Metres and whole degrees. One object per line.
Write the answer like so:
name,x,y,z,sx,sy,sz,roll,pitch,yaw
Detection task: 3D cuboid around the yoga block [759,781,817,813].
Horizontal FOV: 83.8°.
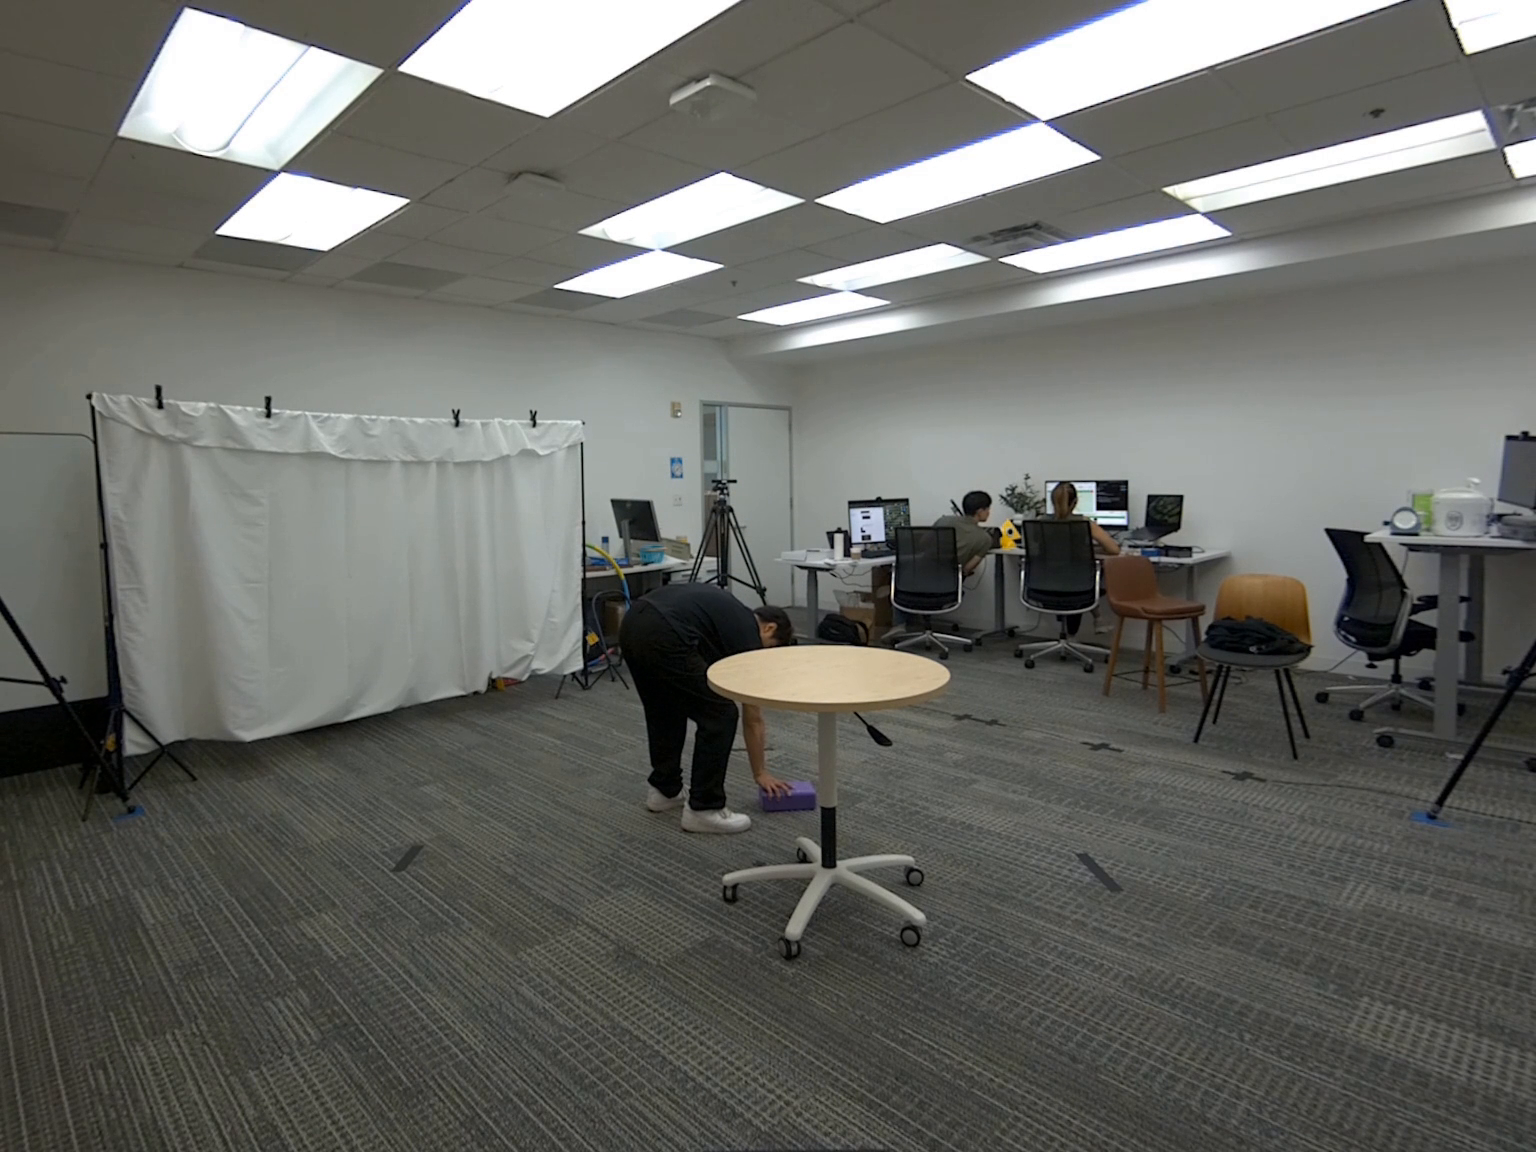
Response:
yoga block,0.079,0.938,3.659,0.228,0.076,0.151,-1,7,-6
